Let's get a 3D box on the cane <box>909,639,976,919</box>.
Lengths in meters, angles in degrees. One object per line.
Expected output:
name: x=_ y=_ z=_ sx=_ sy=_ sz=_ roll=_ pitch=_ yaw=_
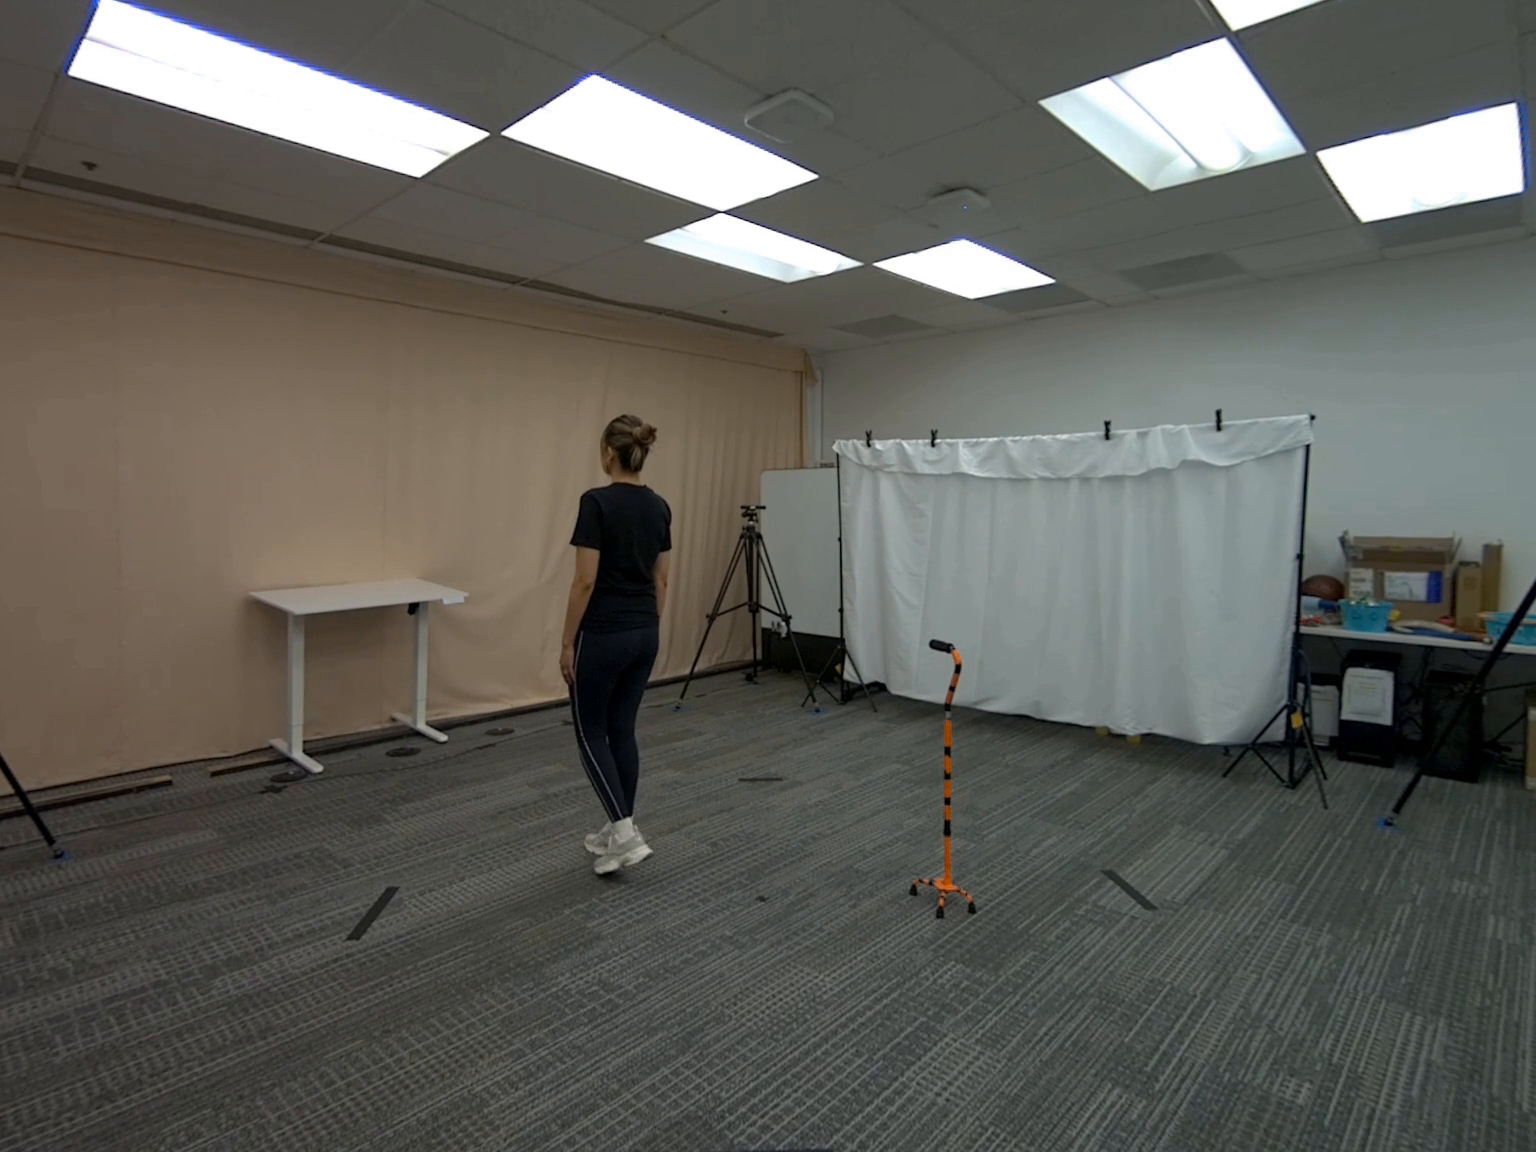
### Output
cane: x=0.617 y=0.693 z=2.926 sx=0.149 sy=0.906 sz=0.211 roll=-1 pitch=3 yaw=-19
